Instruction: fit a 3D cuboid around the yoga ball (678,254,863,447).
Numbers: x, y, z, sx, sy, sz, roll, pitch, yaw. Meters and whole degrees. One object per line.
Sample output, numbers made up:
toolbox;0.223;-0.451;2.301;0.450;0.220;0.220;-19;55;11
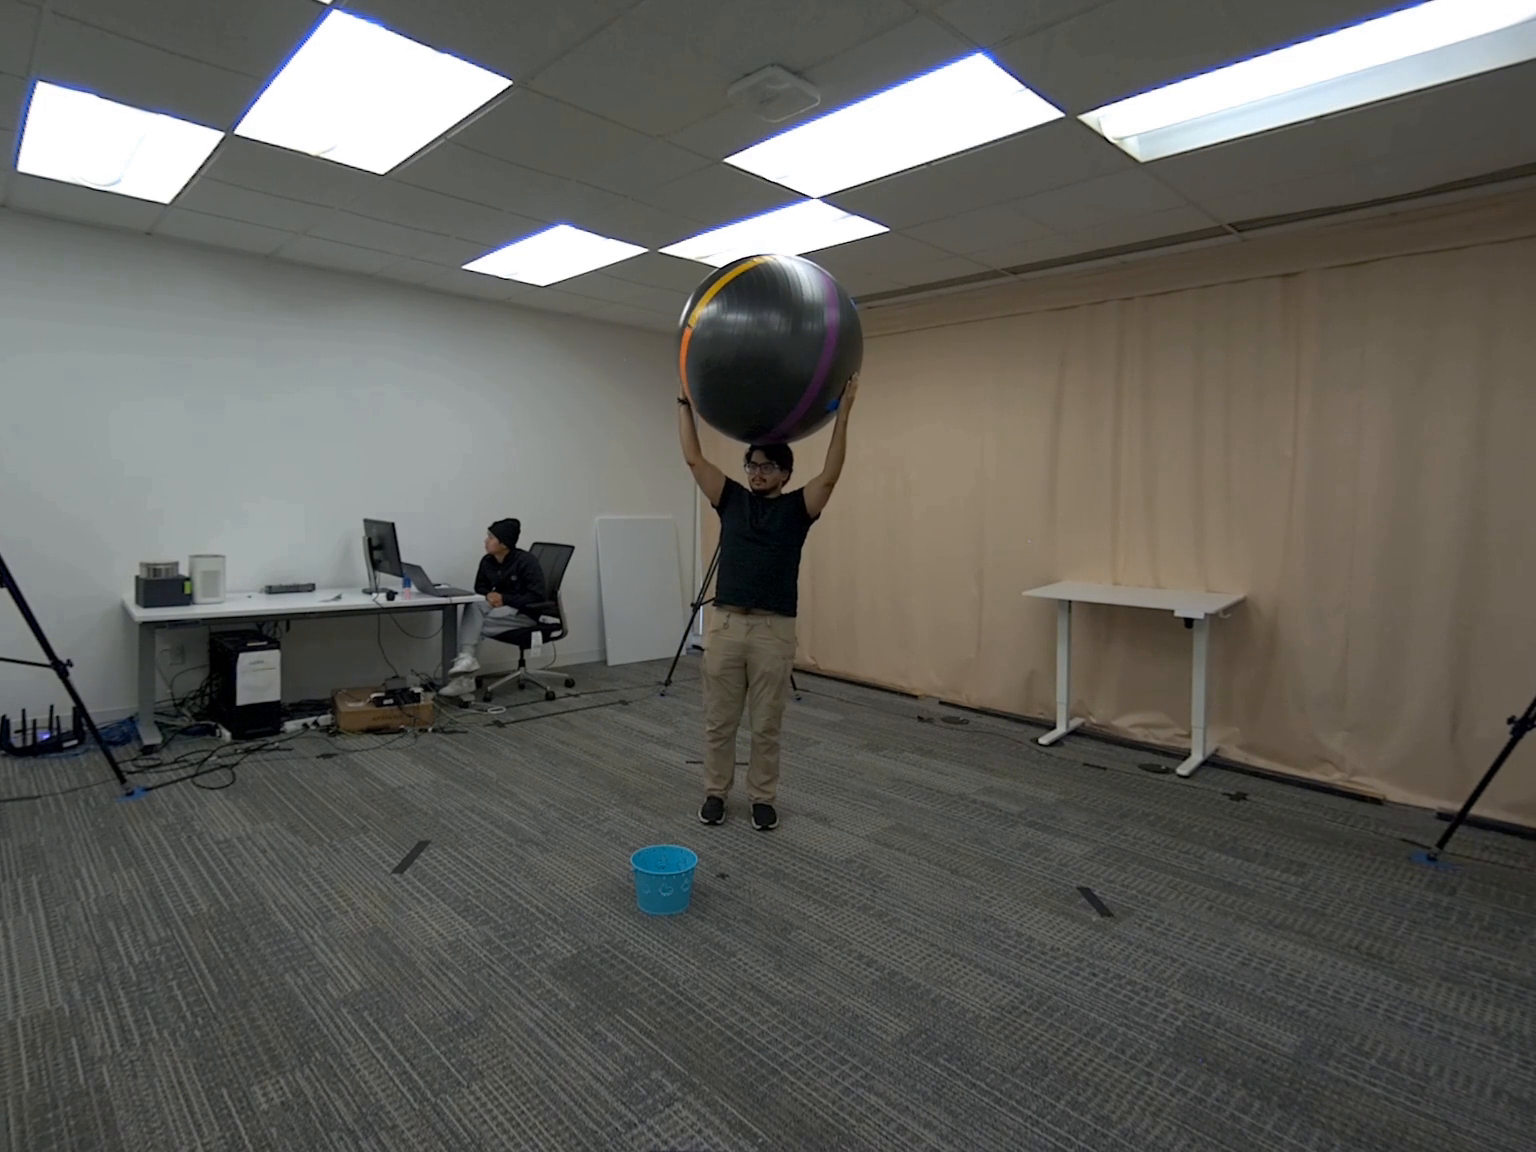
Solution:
yoga ball;-0.006;-0.904;3.397;0.757;0.756;0.761;1;4;-1
